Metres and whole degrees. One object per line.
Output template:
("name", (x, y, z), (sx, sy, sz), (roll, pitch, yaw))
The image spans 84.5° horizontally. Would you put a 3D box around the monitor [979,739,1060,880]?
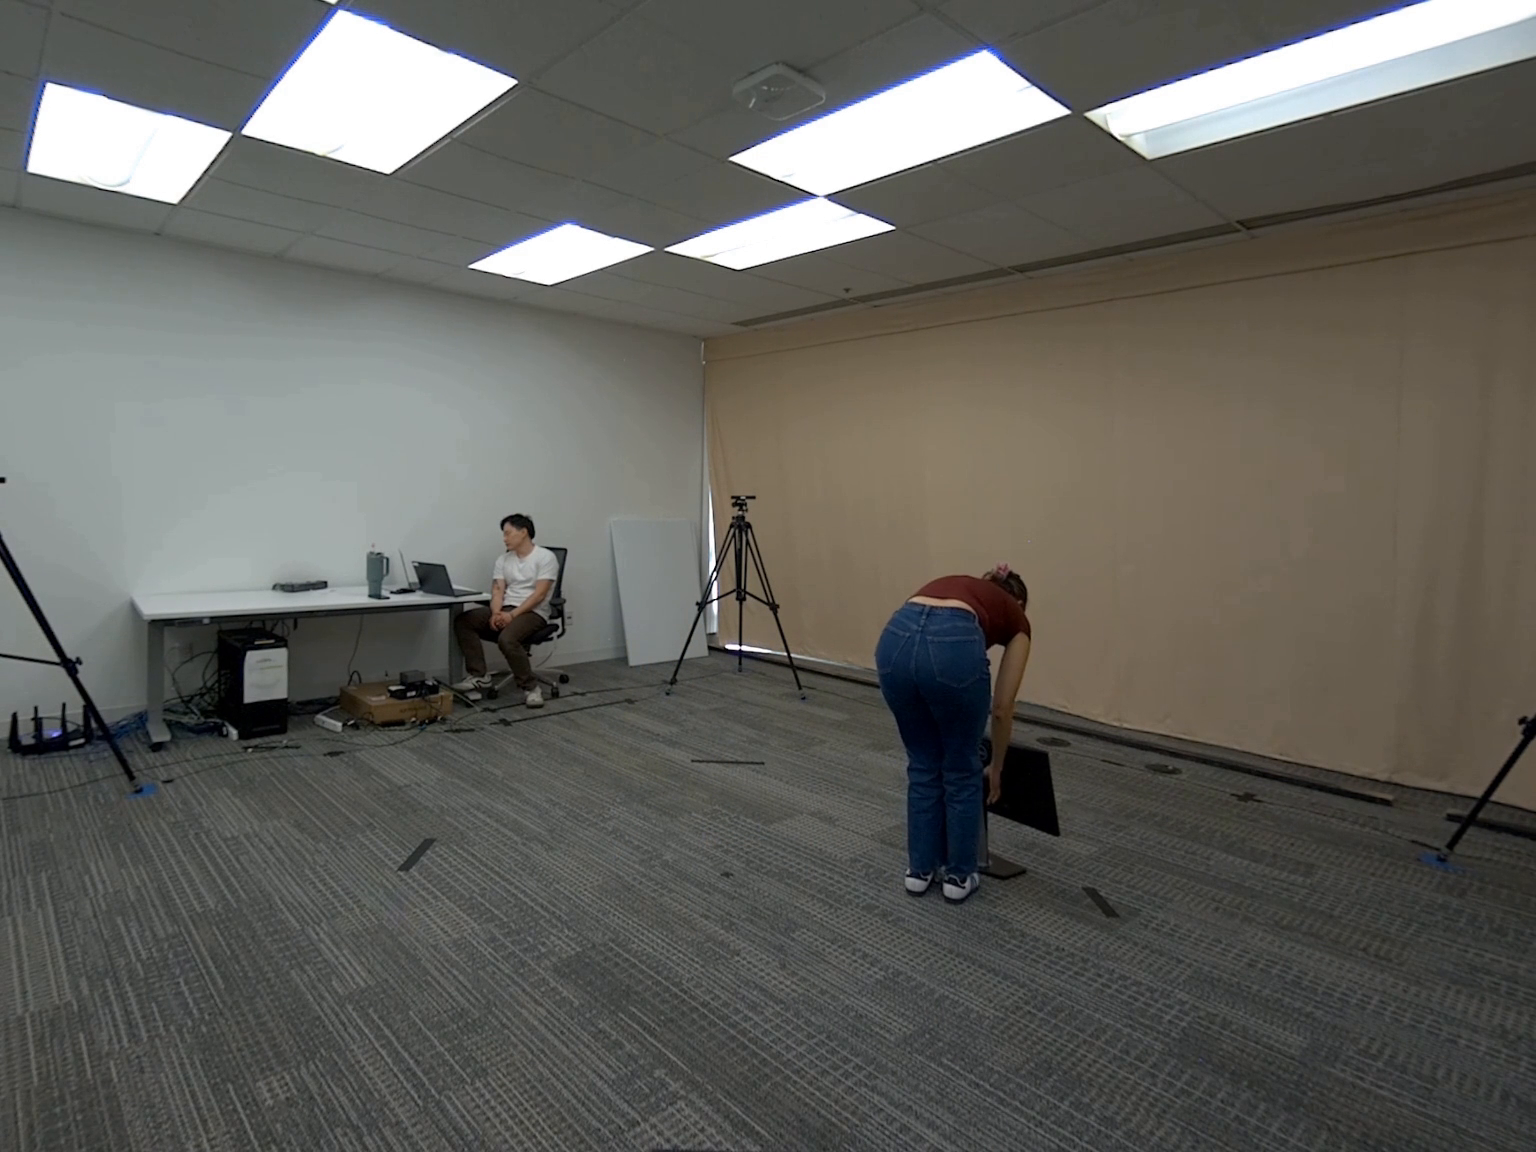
("monitor", (0.834, 0.863, 3.248), (0.183, 0.521, 0.553), (-3, 6, -40))
